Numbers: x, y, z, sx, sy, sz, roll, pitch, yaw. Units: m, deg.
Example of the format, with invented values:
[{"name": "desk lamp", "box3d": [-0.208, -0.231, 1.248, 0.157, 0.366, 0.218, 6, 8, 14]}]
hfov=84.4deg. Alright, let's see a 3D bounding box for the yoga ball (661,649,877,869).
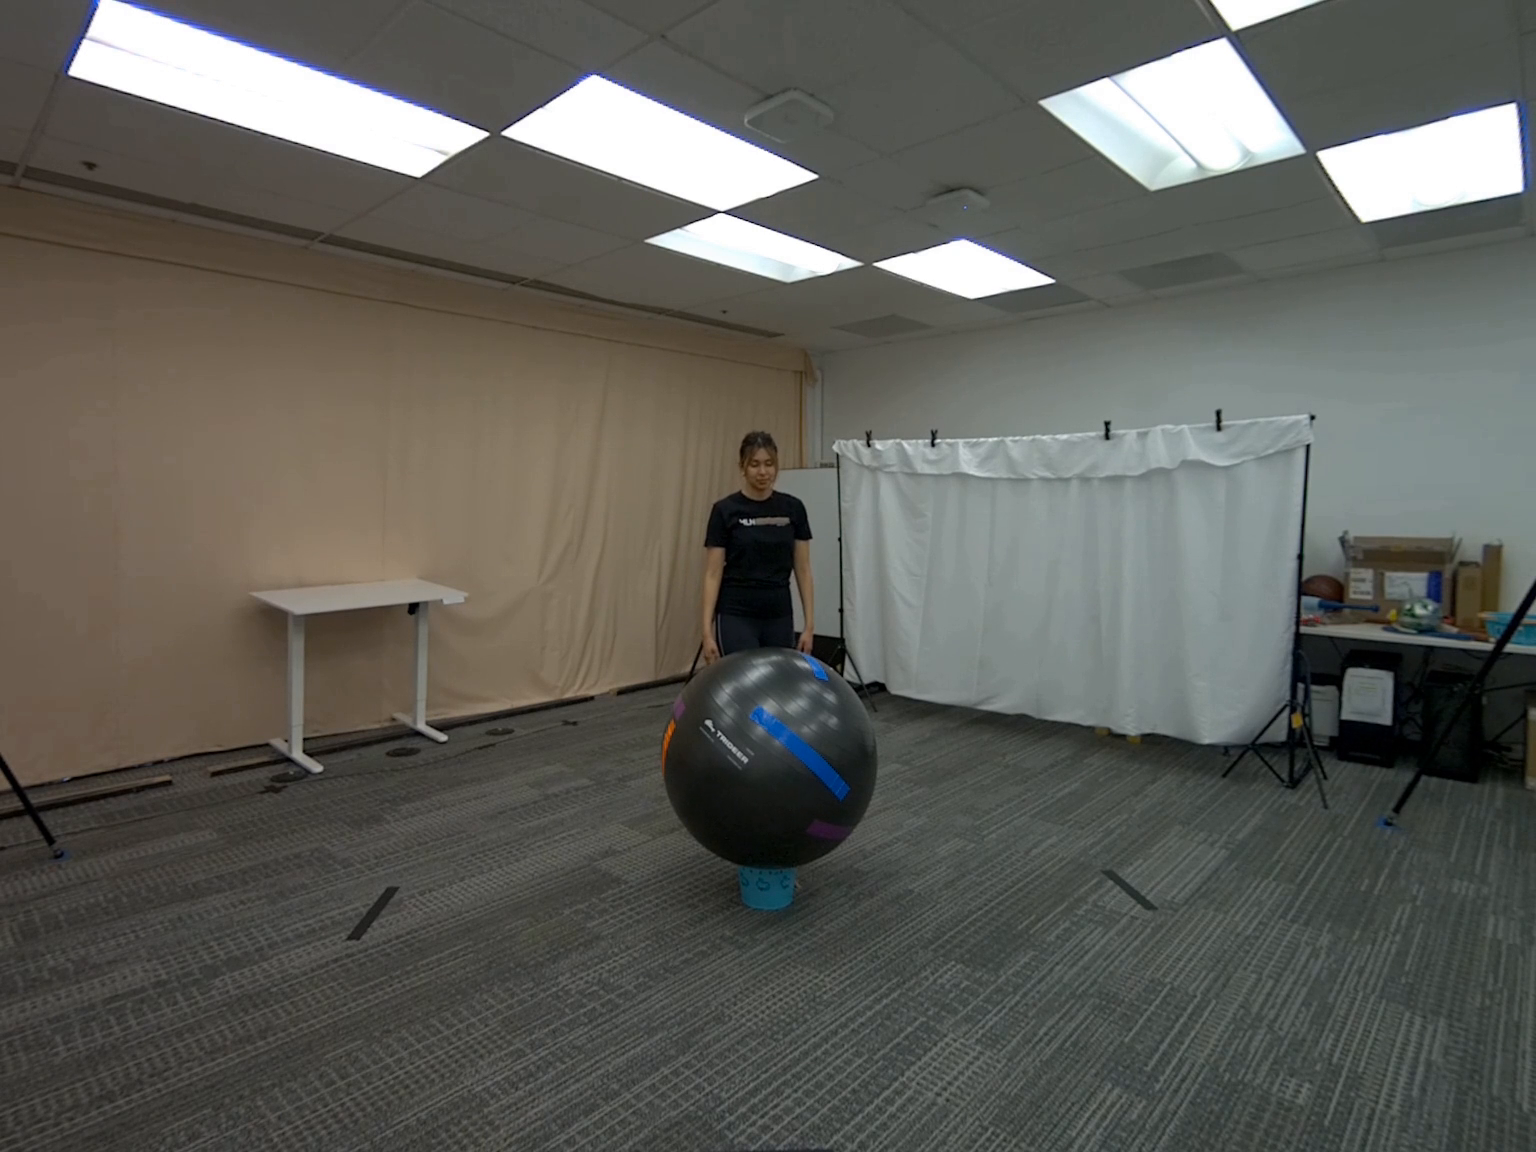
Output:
[{"name": "yoga ball", "box3d": [0.003, 0.630, 2.971, 0.757, 0.756, 0.760, 0, 4, -2]}]
